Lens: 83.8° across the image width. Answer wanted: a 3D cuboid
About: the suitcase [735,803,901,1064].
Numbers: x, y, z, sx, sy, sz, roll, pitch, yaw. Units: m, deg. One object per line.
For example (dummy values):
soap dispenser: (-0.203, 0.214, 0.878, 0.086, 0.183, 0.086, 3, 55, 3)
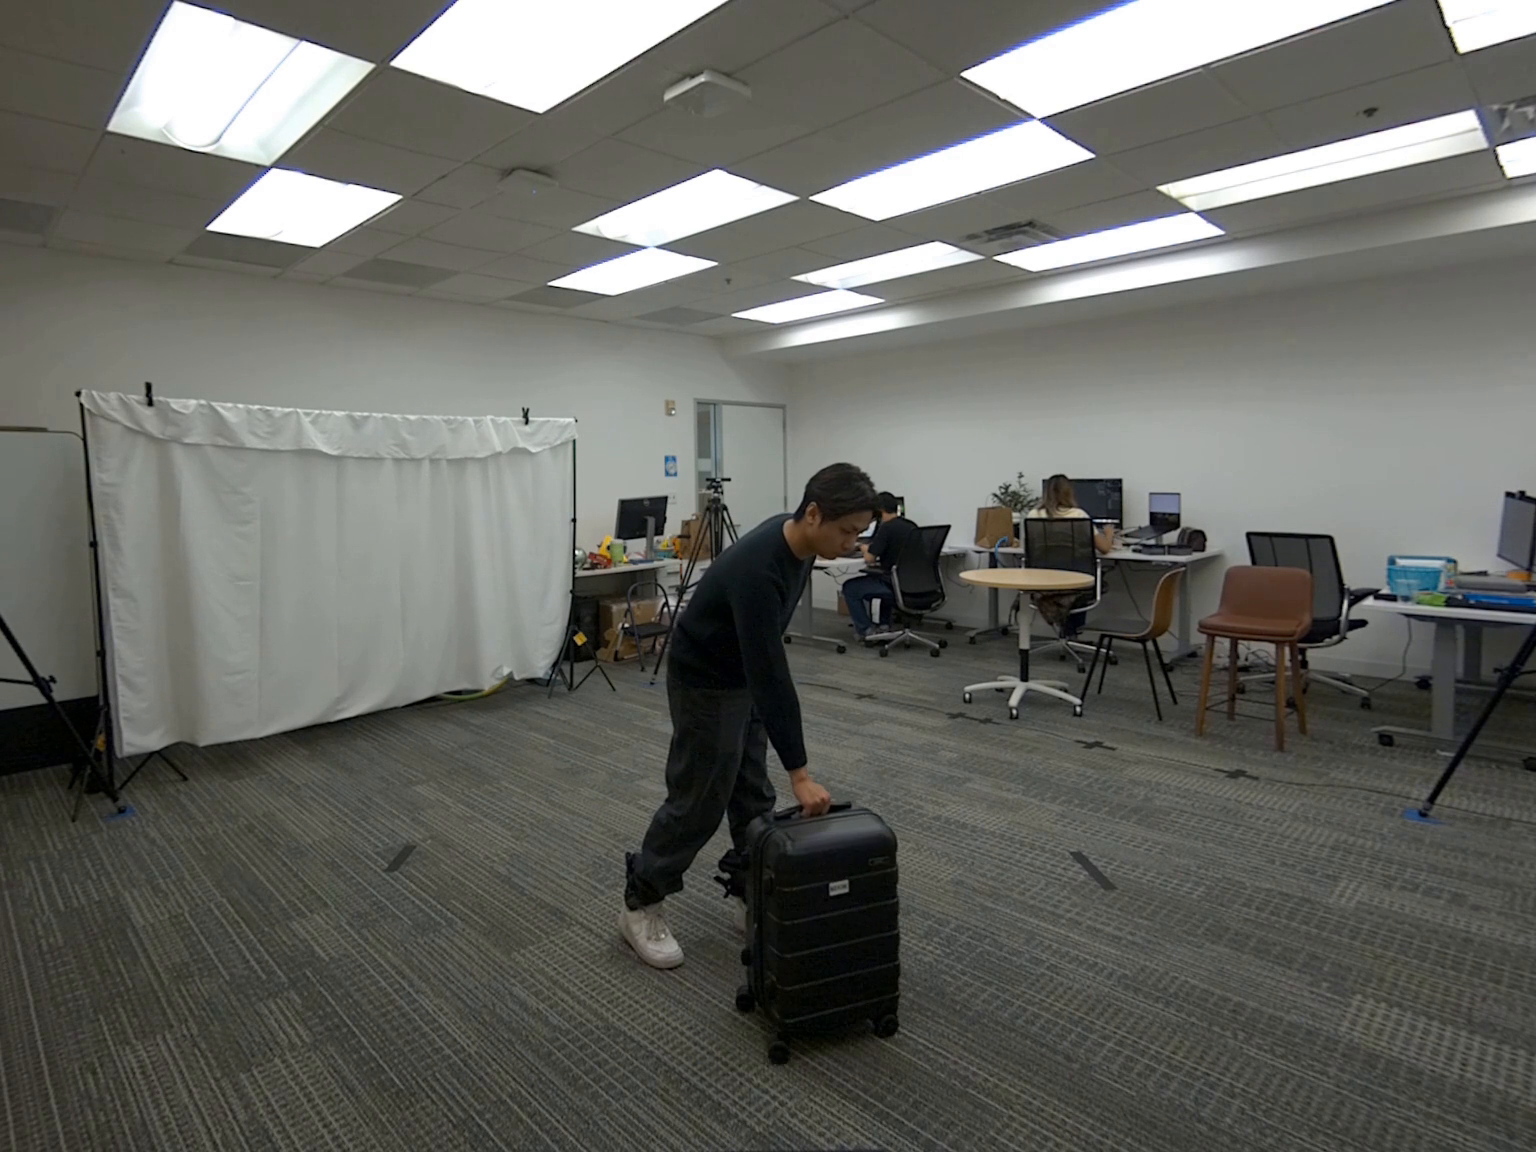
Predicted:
suitcase: (0.145, 0.868, 2.187, 0.368, 0.548, 0.253, -1, 3, -21)
